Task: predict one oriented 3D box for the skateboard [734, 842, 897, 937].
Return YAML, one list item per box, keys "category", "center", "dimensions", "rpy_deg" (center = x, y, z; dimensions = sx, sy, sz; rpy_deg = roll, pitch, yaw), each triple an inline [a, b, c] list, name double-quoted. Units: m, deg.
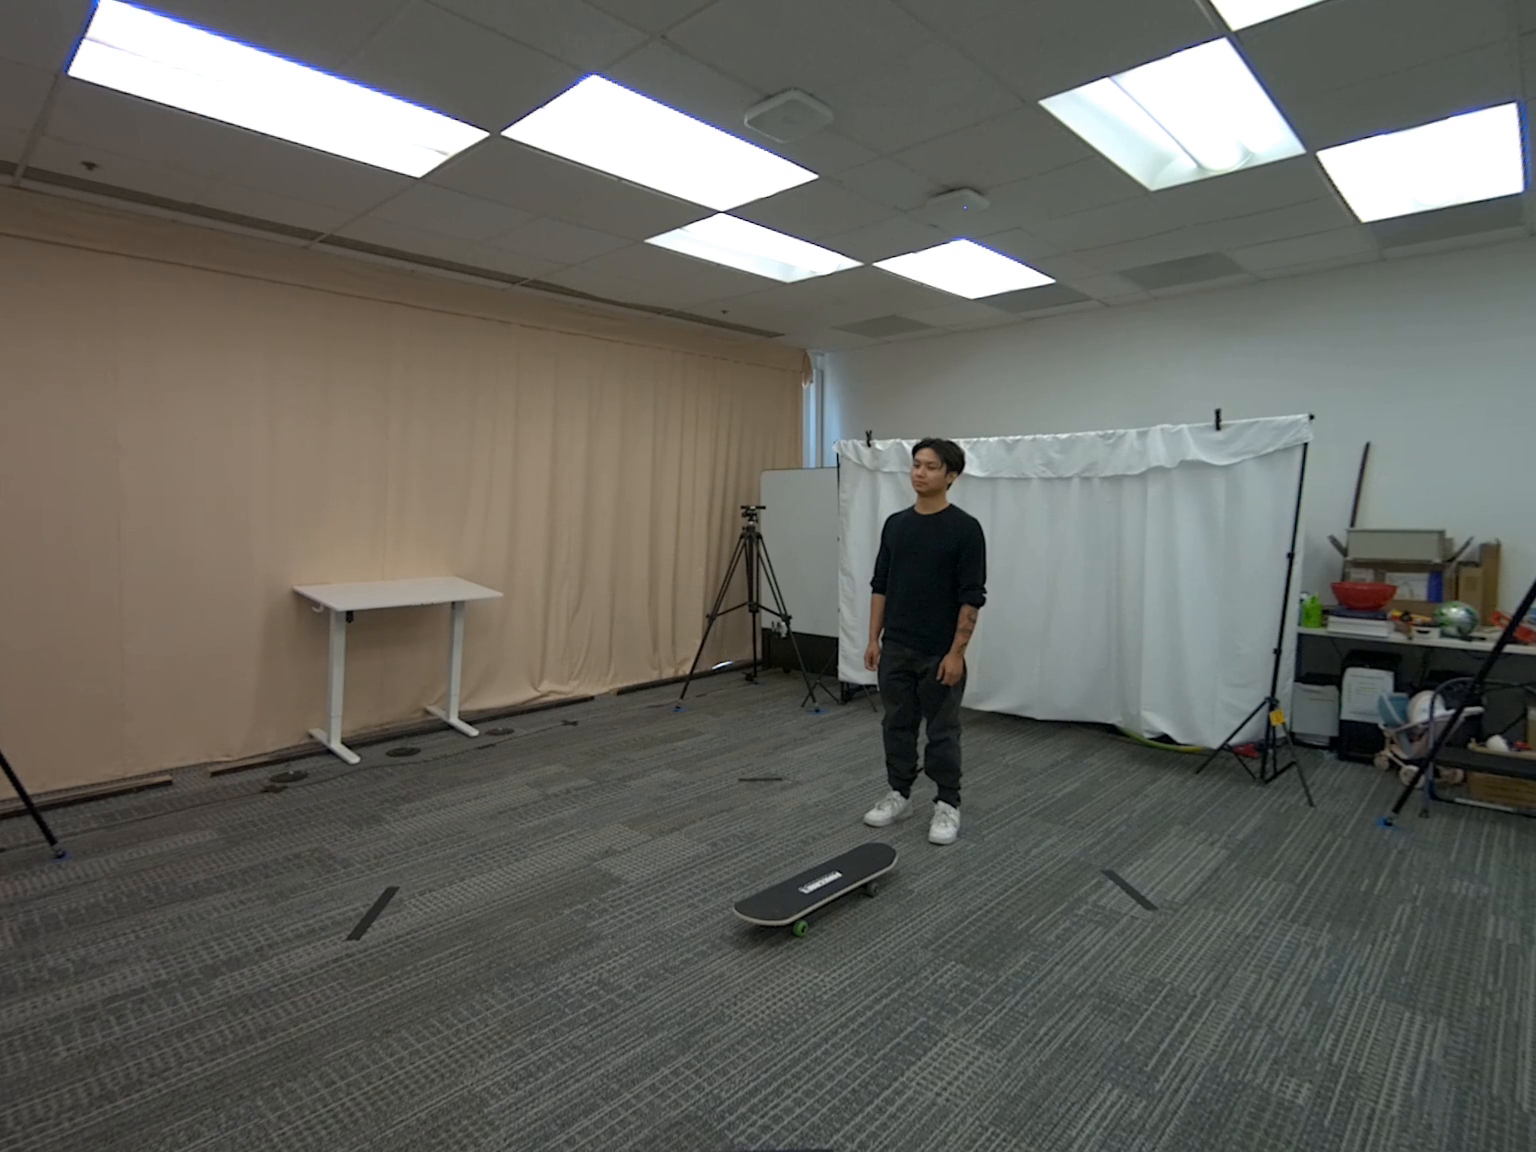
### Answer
- category: "skateboard"
  center: [0.185, 1.094, 2.914]
  dimensions: [0.200, 0.110, 0.761]
  rpy_deg: [4, 6, 45]
